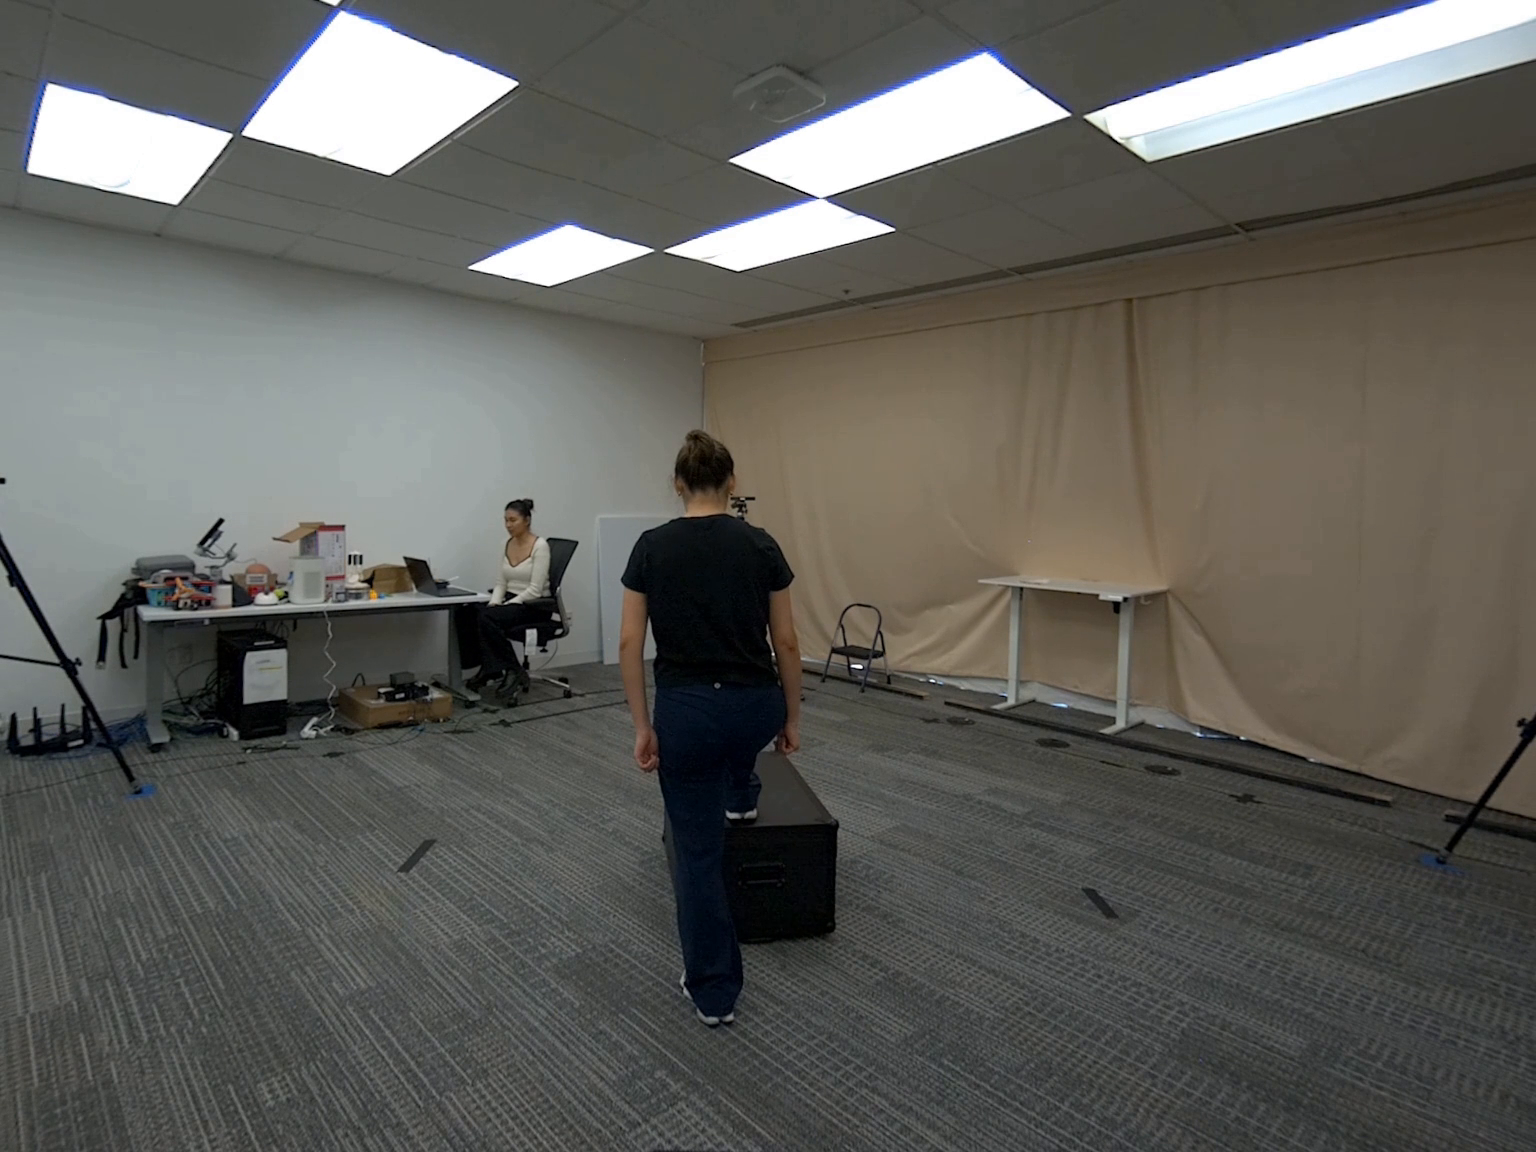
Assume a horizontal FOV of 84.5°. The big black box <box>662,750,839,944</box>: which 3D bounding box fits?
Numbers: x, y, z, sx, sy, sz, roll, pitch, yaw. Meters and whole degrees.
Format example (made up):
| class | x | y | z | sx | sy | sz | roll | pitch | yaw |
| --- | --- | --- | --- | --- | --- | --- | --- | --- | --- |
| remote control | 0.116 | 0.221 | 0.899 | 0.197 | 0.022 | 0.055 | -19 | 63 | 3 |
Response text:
| class | x | y | z | sx | sy | sz | roll | pitch | yaw |
| --- | --- | --- | --- | --- | --- | --- | --- | --- | --- |
| big black box | -0.106 | 0.921 | 3.018 | 0.516 | 0.395 | 0.872 | 1 | 5 | -12 |
